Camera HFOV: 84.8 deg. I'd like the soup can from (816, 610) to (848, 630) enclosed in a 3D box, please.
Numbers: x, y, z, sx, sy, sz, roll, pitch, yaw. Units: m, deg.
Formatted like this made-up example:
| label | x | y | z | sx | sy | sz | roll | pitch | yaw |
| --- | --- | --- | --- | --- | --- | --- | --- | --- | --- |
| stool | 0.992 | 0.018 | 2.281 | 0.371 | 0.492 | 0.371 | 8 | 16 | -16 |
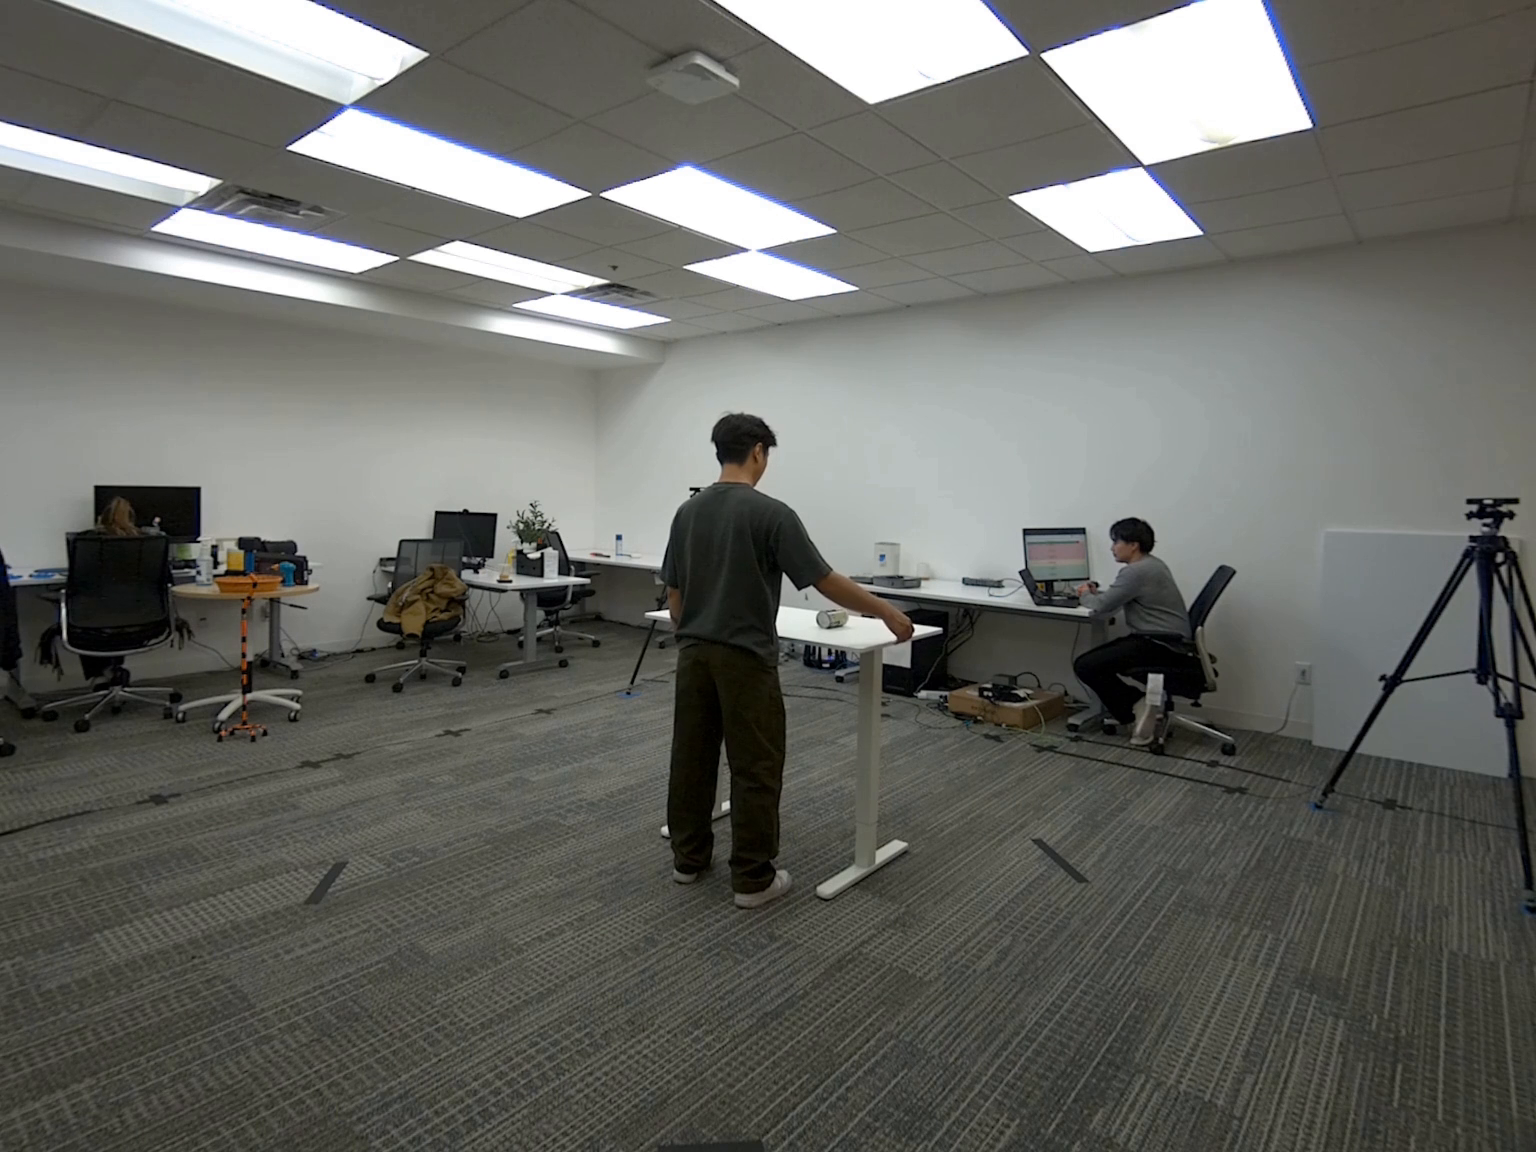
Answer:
| label | x | y | z | sx | sy | sz | roll | pitch | yaw |
| --- | --- | --- | --- | --- | --- | --- | --- | --- | --- |
| soup can | 0.231 | 0.154 | 3.182 | 0.069 | 0.067 | 0.118 | 5 | 6 | 41 |
